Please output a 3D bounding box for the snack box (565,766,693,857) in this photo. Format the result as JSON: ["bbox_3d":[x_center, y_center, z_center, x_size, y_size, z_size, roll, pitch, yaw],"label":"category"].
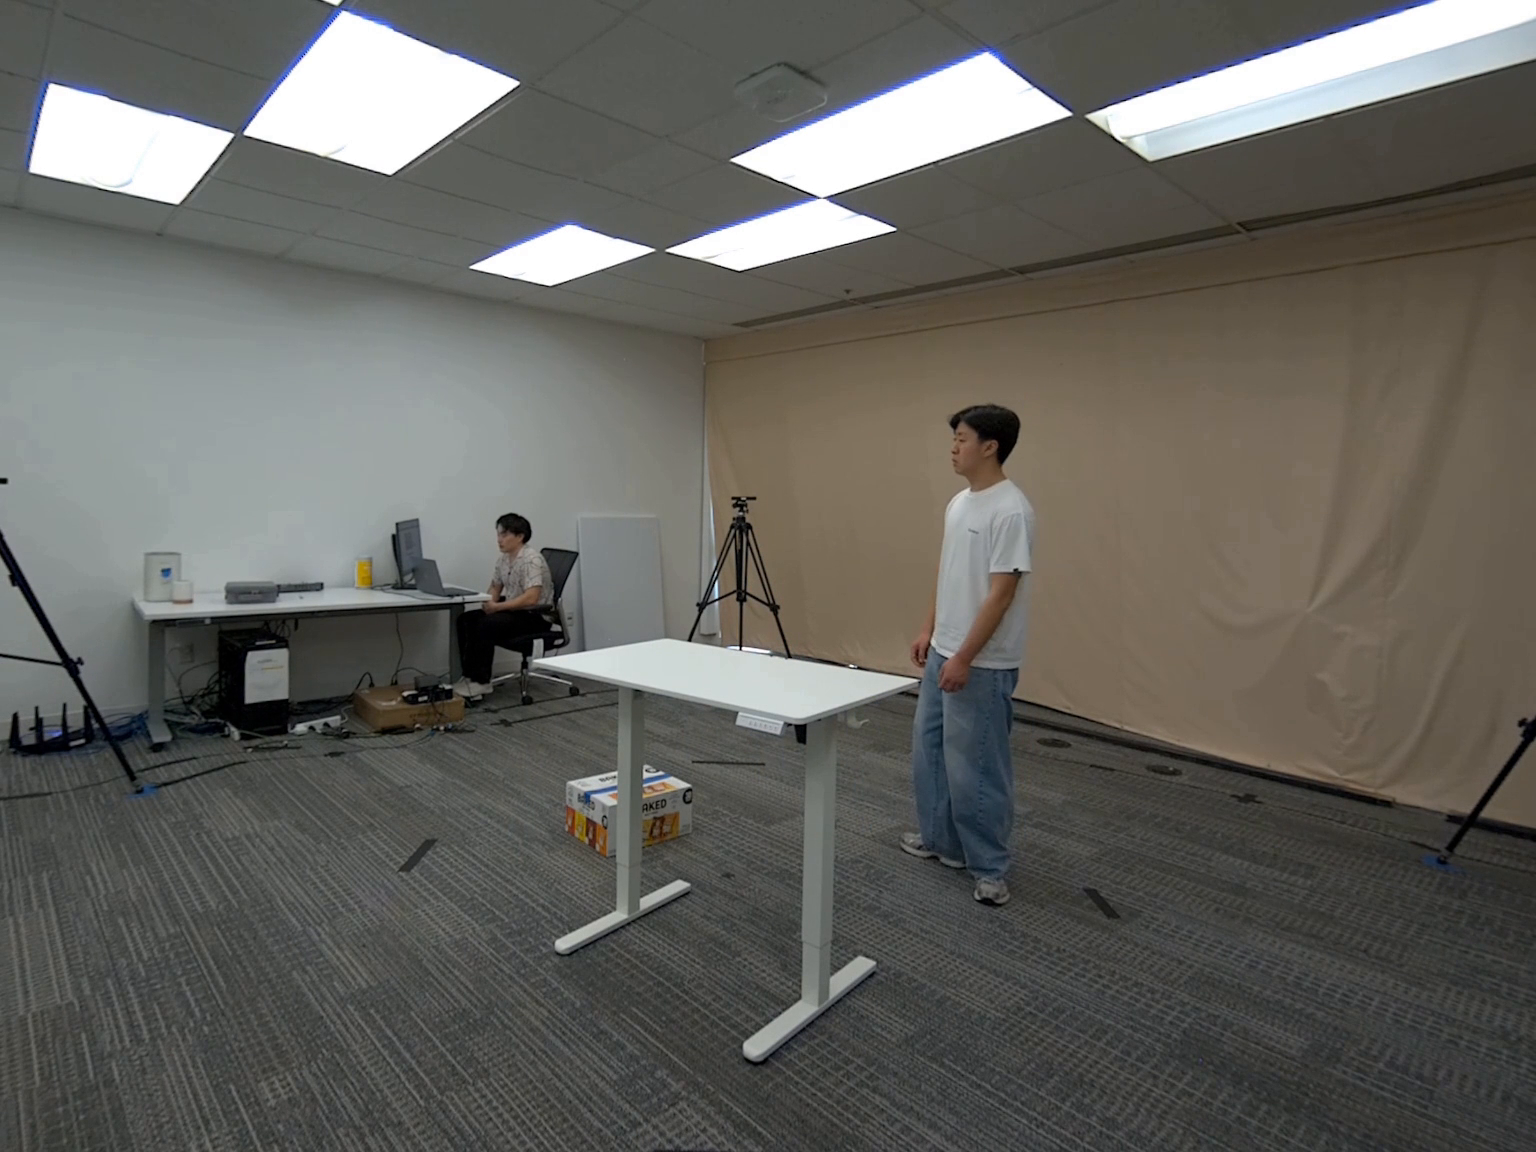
[{"bbox_3d":[-0.577,0.955,3.481,0.396,0.205,0.349,-3,6,-40],"label":"snack box"}]
